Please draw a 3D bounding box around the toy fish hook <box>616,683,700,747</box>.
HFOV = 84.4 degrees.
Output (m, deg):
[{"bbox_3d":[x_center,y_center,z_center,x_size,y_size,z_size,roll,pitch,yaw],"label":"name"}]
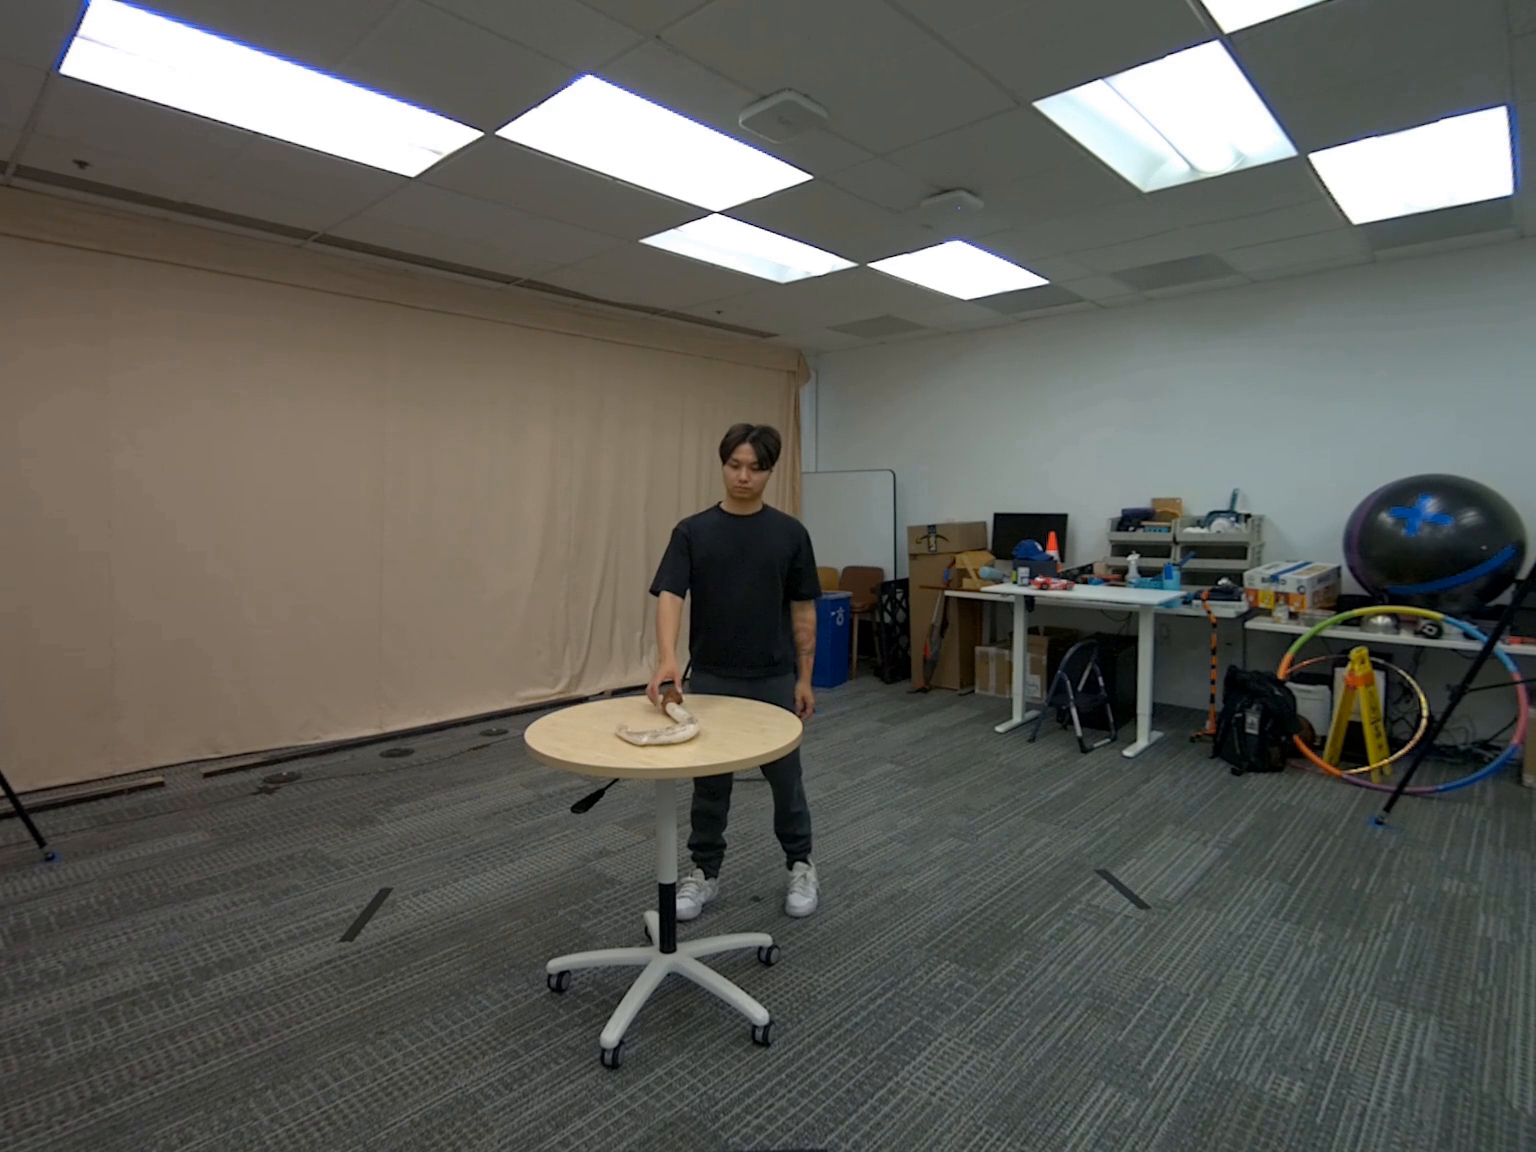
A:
[{"bbox_3d":[-0.322,0.388,2.381,0.222,0.048,0.514,3,6,-11],"label":"toy fish hook"}]
